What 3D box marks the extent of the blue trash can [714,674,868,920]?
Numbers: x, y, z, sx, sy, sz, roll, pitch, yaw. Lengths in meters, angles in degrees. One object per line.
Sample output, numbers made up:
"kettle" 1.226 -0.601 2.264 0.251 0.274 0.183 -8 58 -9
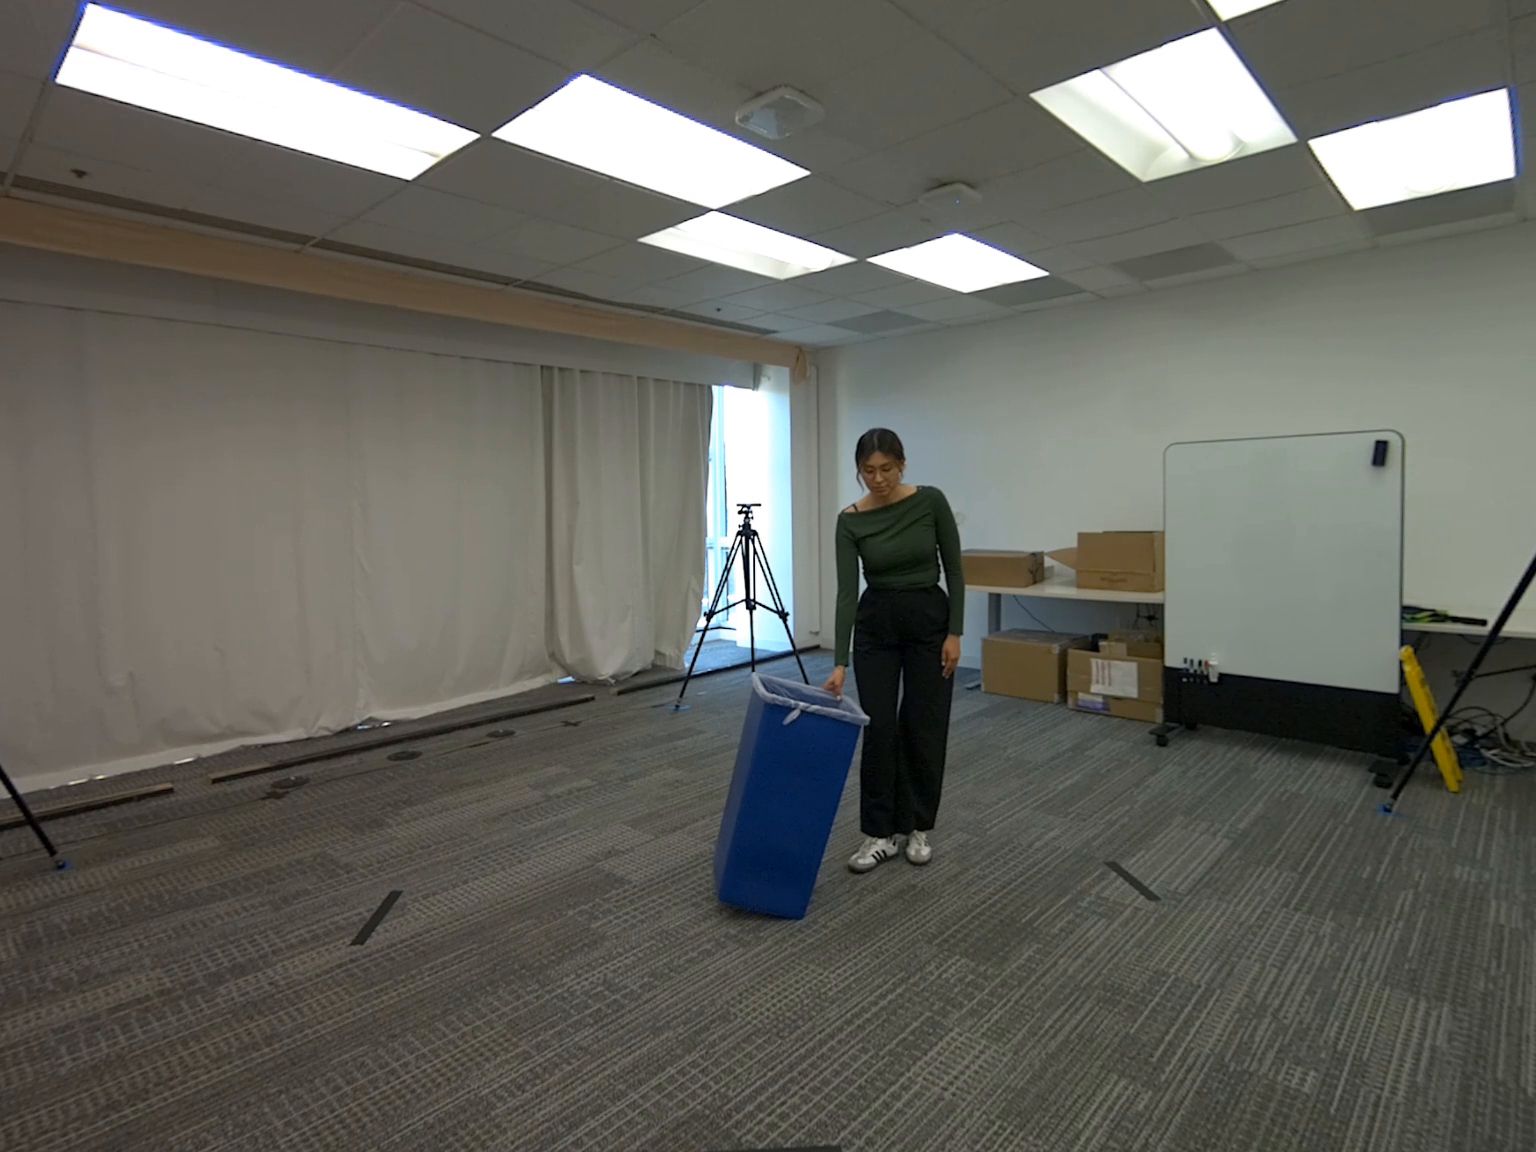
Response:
"blue trash can" 0.050 0.760 2.921 0.372 0.713 0.380 16 2 -5
